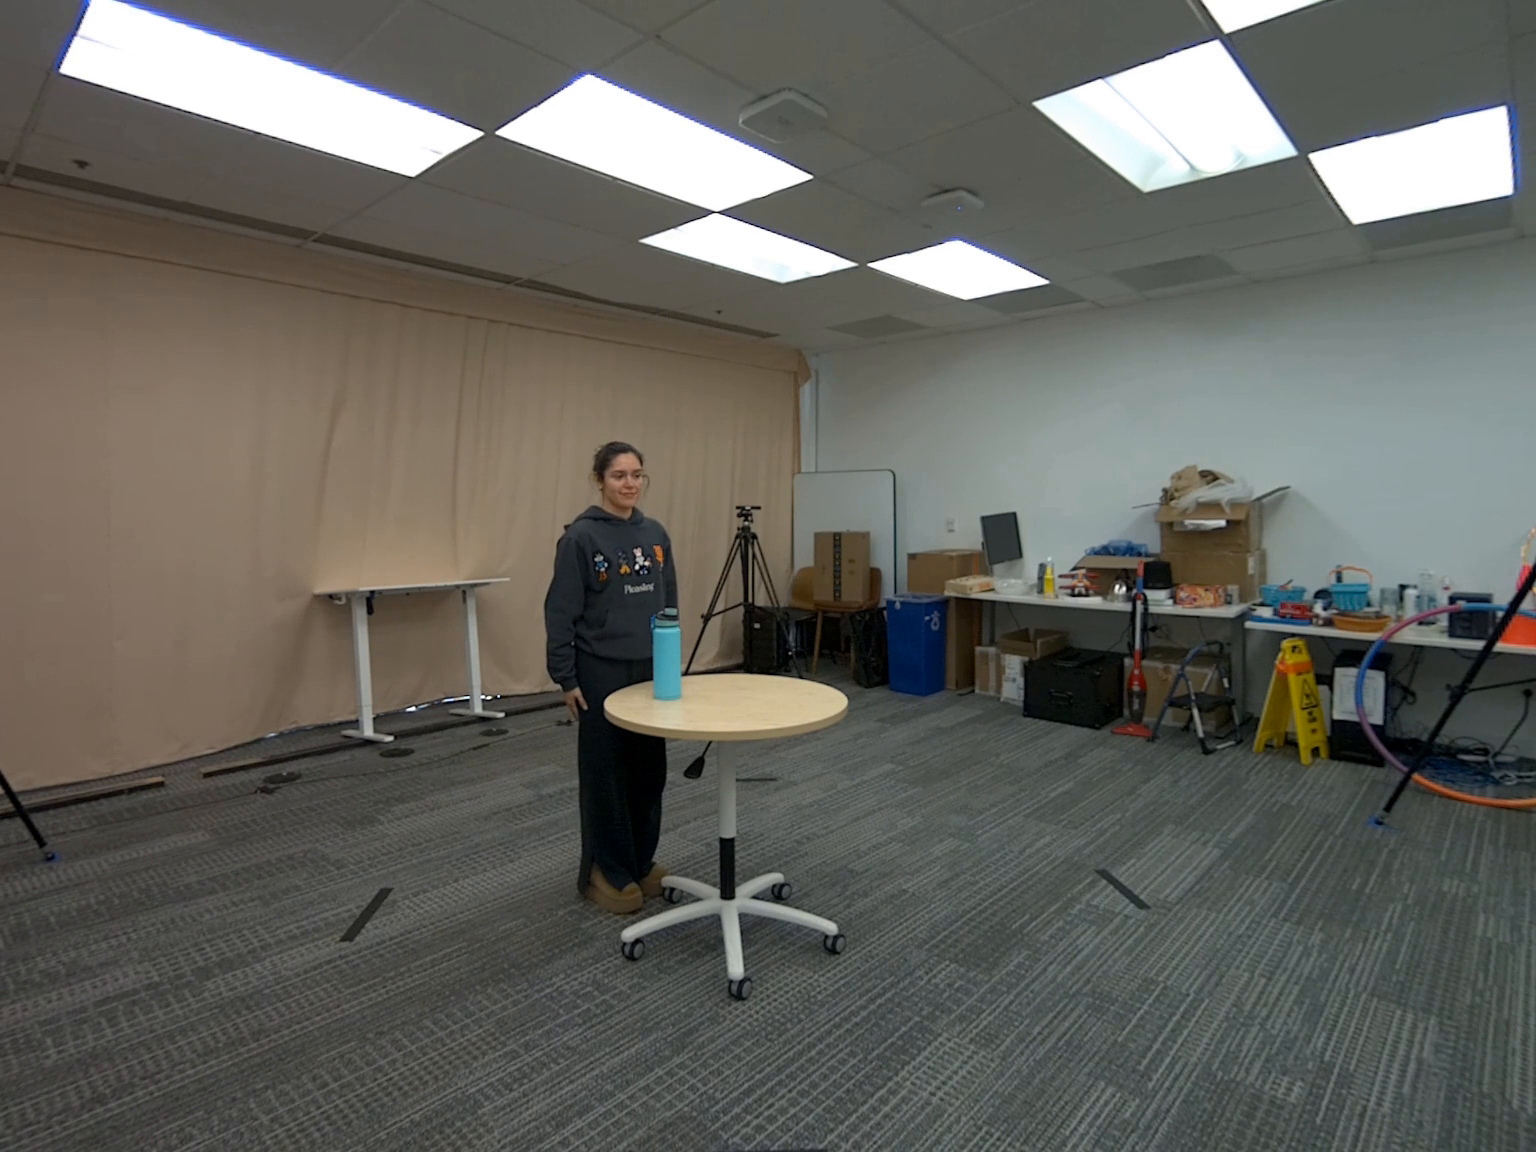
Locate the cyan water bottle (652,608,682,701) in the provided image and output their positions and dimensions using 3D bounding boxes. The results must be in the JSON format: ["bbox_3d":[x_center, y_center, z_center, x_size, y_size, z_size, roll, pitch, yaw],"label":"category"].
[{"bbox_3d":[-0.313,0.250,2.690,0.092,0.283,0.092,-3,3,-2],"label":"cyan water bottle"}]
